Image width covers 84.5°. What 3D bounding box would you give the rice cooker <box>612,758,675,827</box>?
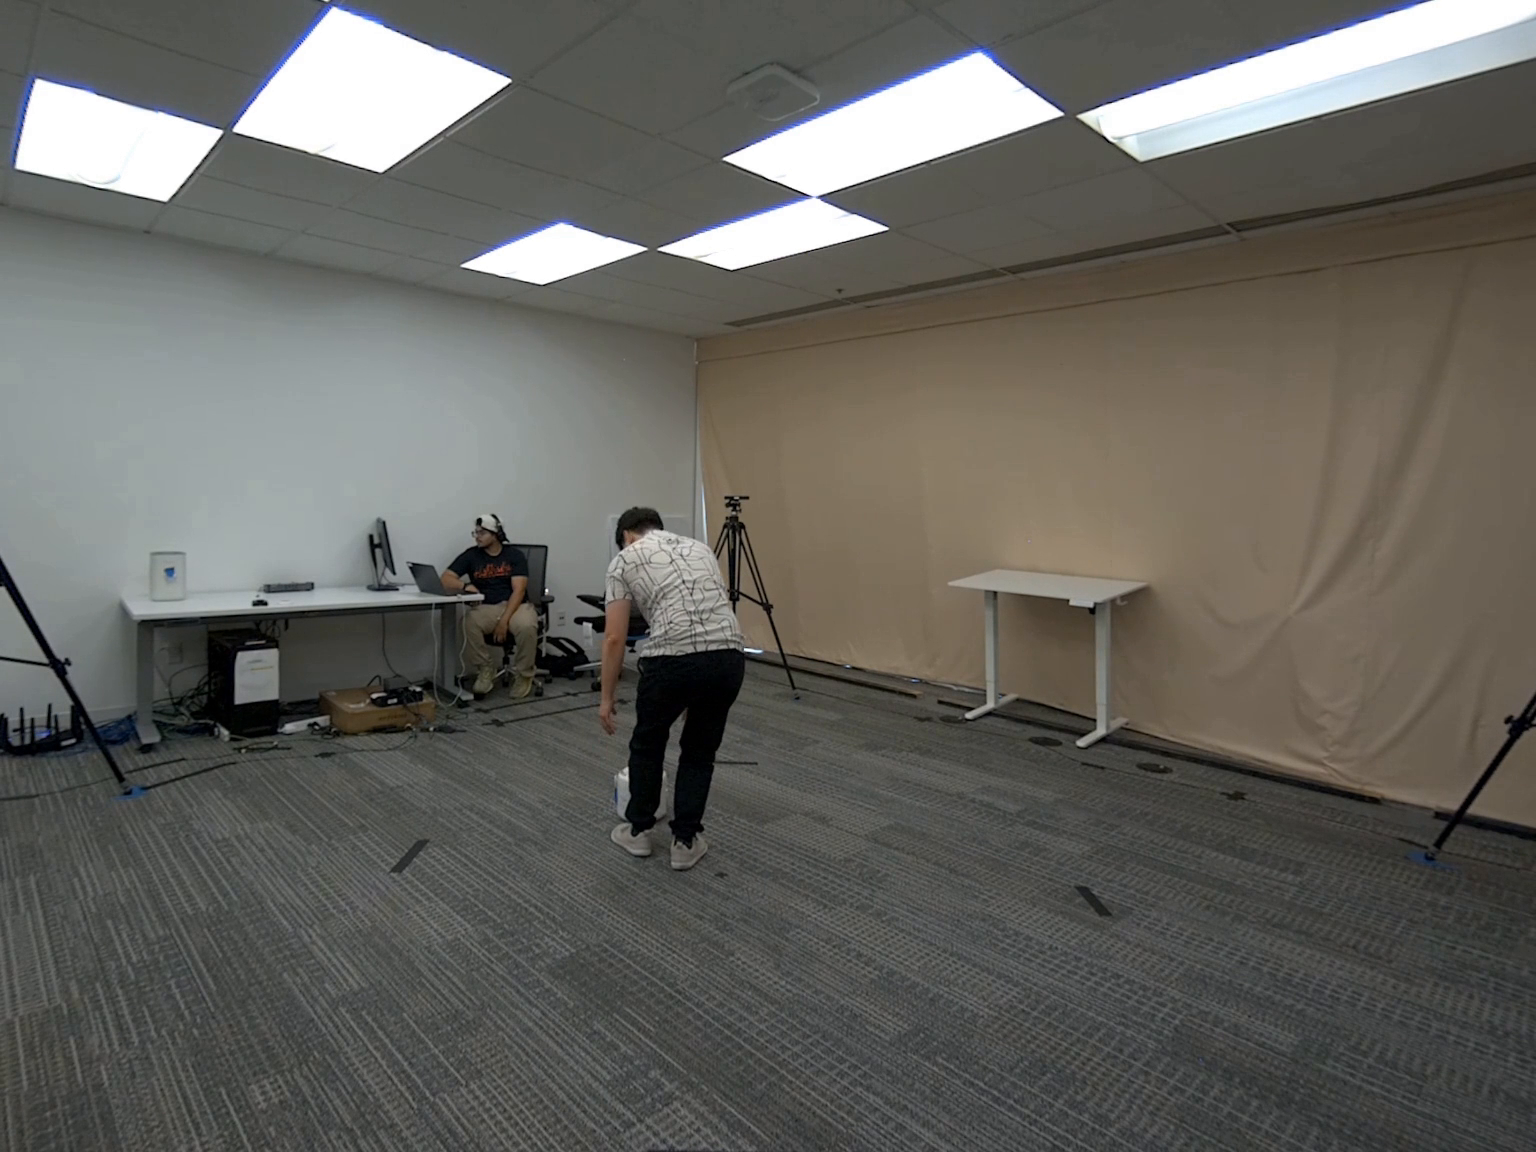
[{"bbox_3d":[-0.542,0.927,3.647,0.214,0.232,0.225,-1,4,-23],"label":"rice cooker"}]
